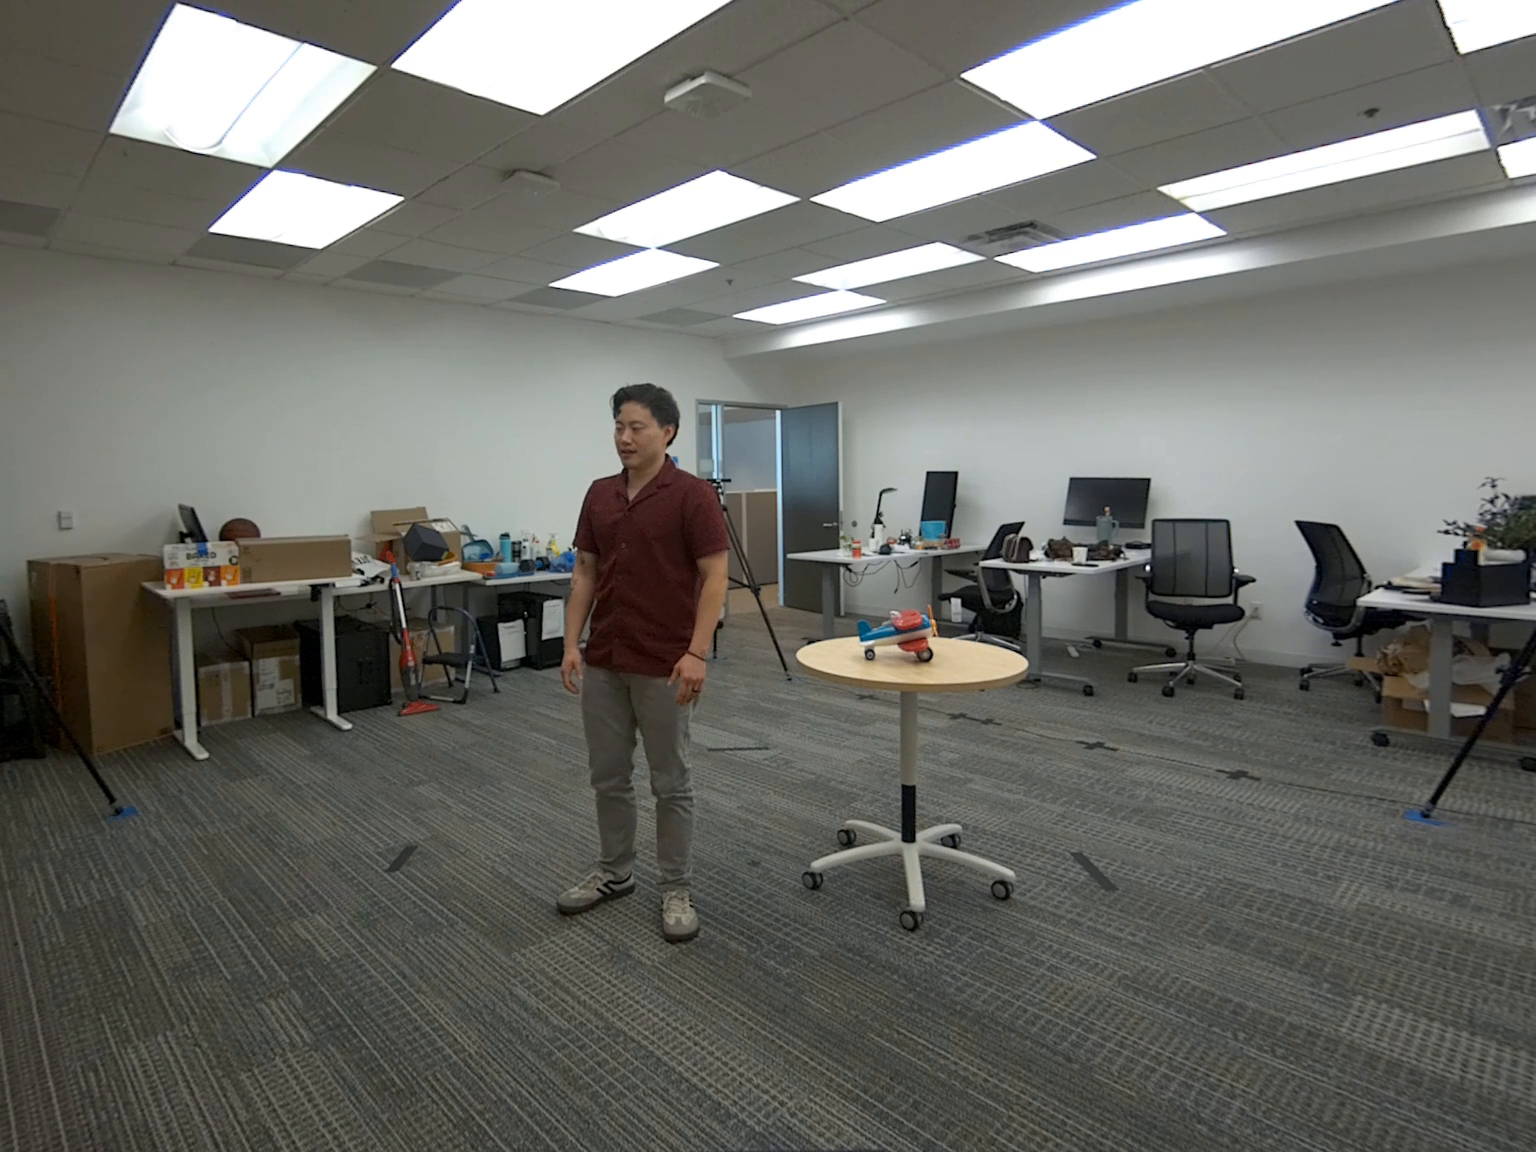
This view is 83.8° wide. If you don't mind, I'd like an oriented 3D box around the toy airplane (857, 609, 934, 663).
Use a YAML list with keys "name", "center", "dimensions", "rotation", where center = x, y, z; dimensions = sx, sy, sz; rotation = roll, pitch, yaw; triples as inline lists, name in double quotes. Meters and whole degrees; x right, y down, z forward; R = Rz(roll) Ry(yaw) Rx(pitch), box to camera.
- name: "toy airplane"
  center: [0.445, 0.204, 2.845]
  dimensions: [0.253, 0.156, 0.258]
  rotation: [-3, 6, -27]
